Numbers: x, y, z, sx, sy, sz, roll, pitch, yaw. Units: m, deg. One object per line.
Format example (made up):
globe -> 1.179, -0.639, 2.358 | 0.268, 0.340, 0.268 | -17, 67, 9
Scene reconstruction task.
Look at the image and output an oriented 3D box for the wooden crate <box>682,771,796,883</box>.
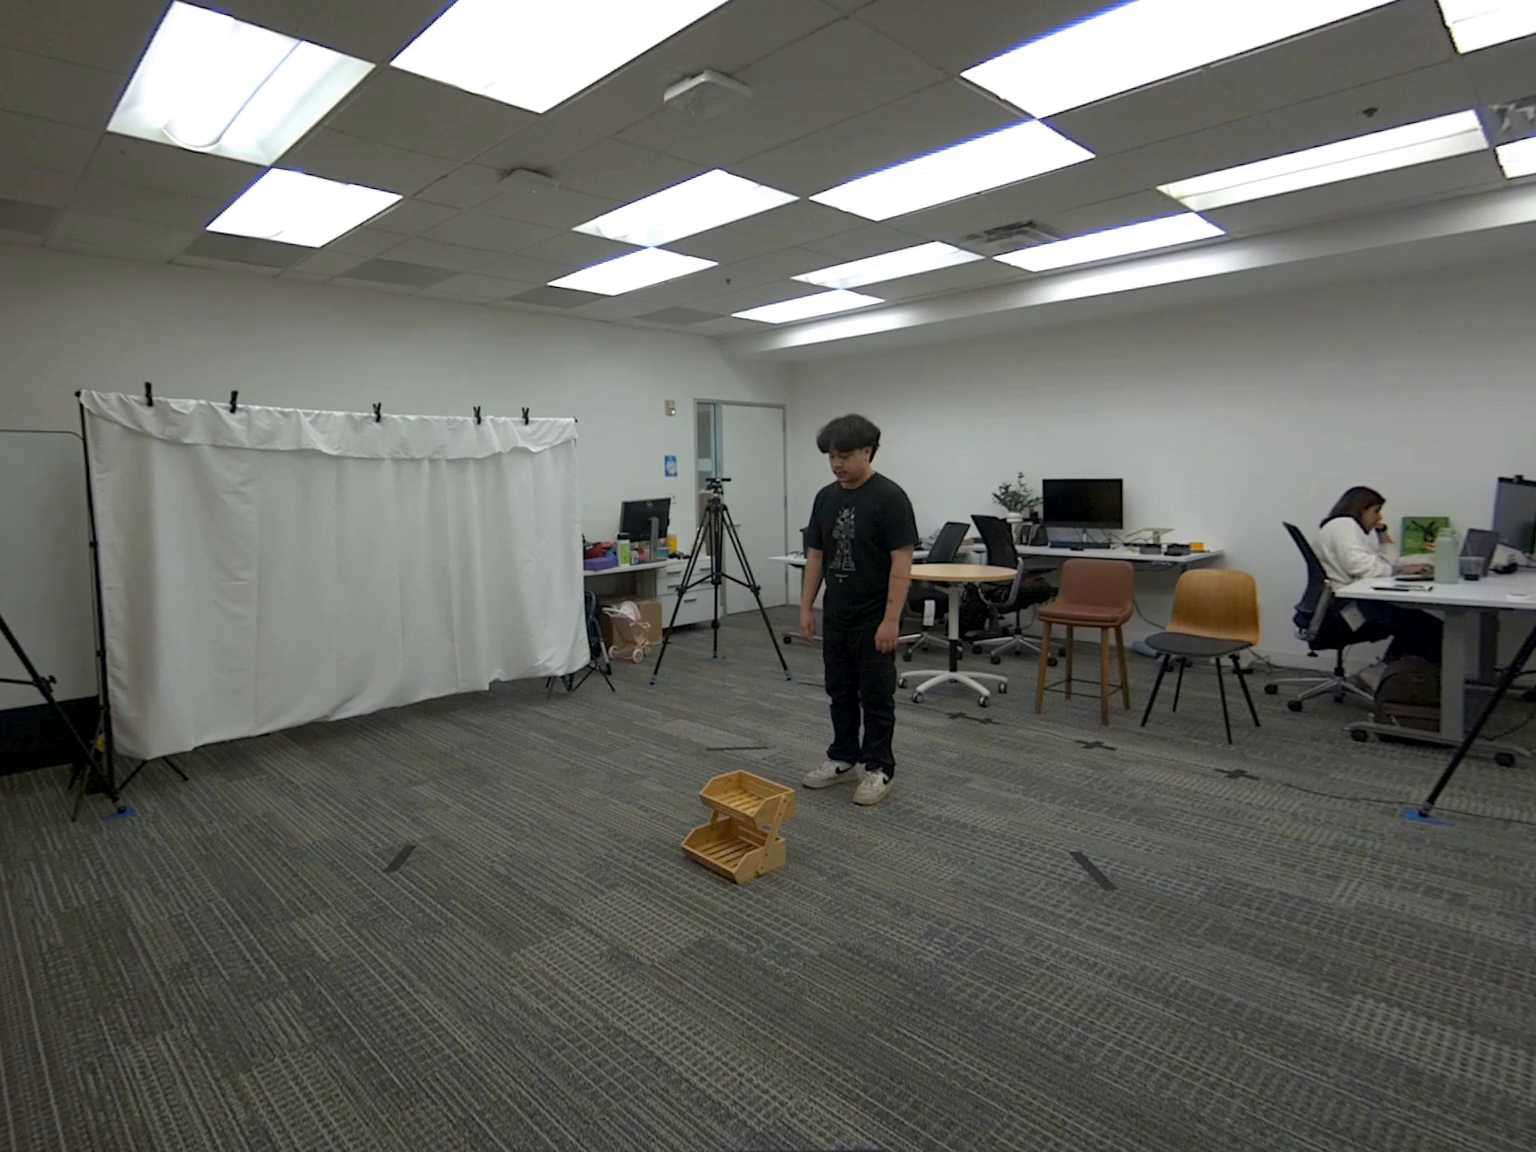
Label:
wooden crate -> -0.111, 0.905, 3.133 | 0.294, 0.272, 0.334 | -4, 6, -42
